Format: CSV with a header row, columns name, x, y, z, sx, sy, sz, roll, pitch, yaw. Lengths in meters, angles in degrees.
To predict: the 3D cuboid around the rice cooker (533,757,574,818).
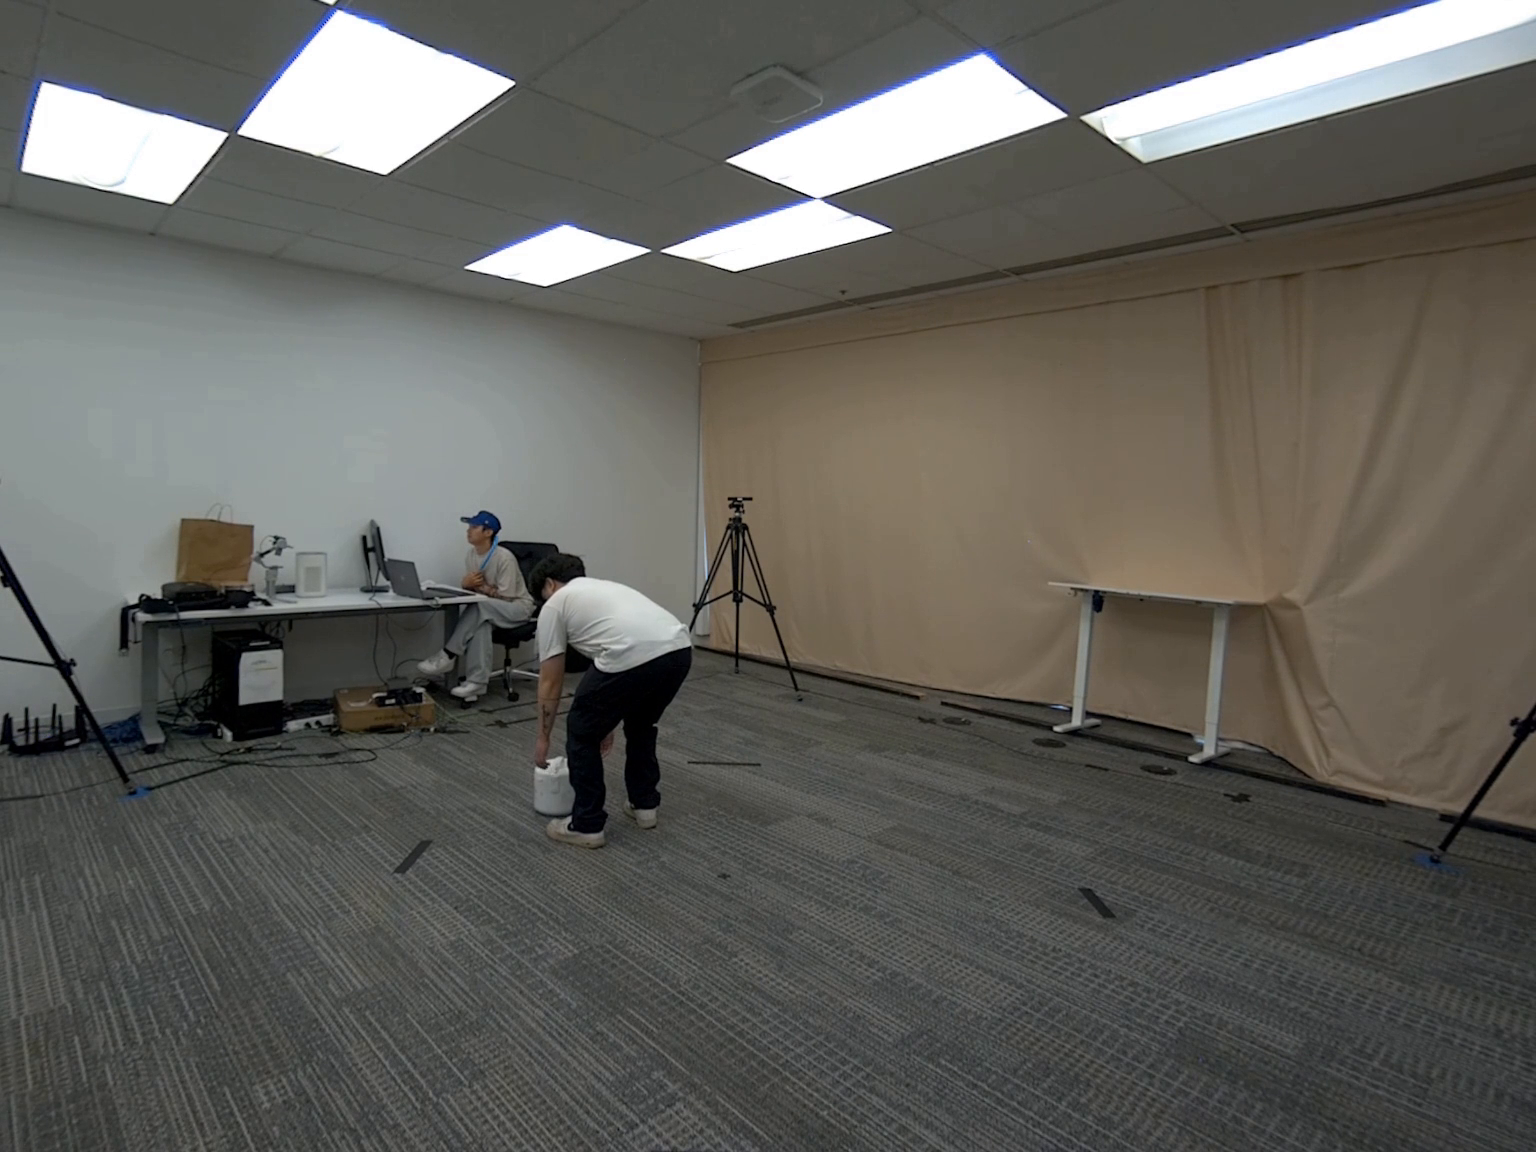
name,x,y,z,sx,sy,sz,roll,pitch,yaw
rice cooker,-0.928,0.911,3.718,0.217,0.232,0.221,0,5,-2
